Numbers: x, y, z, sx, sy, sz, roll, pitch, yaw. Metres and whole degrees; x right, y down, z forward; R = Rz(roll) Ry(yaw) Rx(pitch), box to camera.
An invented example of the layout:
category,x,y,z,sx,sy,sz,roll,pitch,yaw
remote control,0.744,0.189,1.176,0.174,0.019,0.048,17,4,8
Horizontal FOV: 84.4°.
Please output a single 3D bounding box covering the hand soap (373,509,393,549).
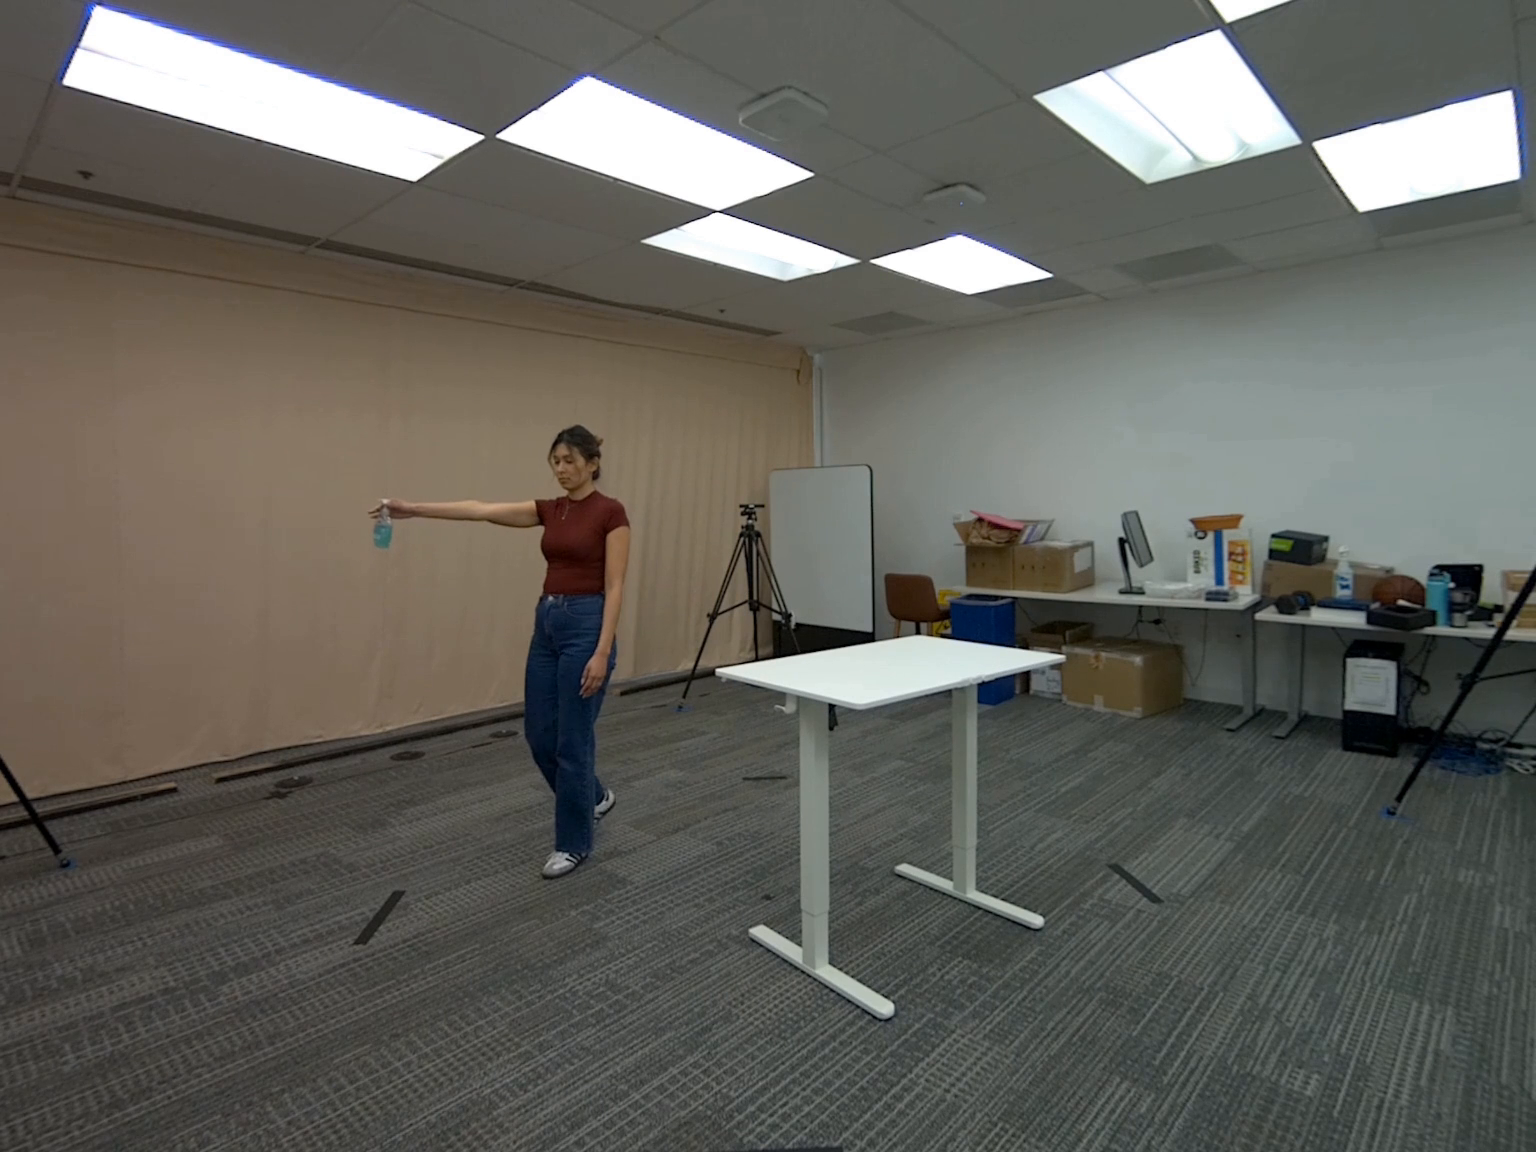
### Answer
category,x,y,z,sx,sy,sz,roll,pitch,yaw
hand soap,-1.331,-0.181,2.923,0.087,0.167,0.042,12,10,28
